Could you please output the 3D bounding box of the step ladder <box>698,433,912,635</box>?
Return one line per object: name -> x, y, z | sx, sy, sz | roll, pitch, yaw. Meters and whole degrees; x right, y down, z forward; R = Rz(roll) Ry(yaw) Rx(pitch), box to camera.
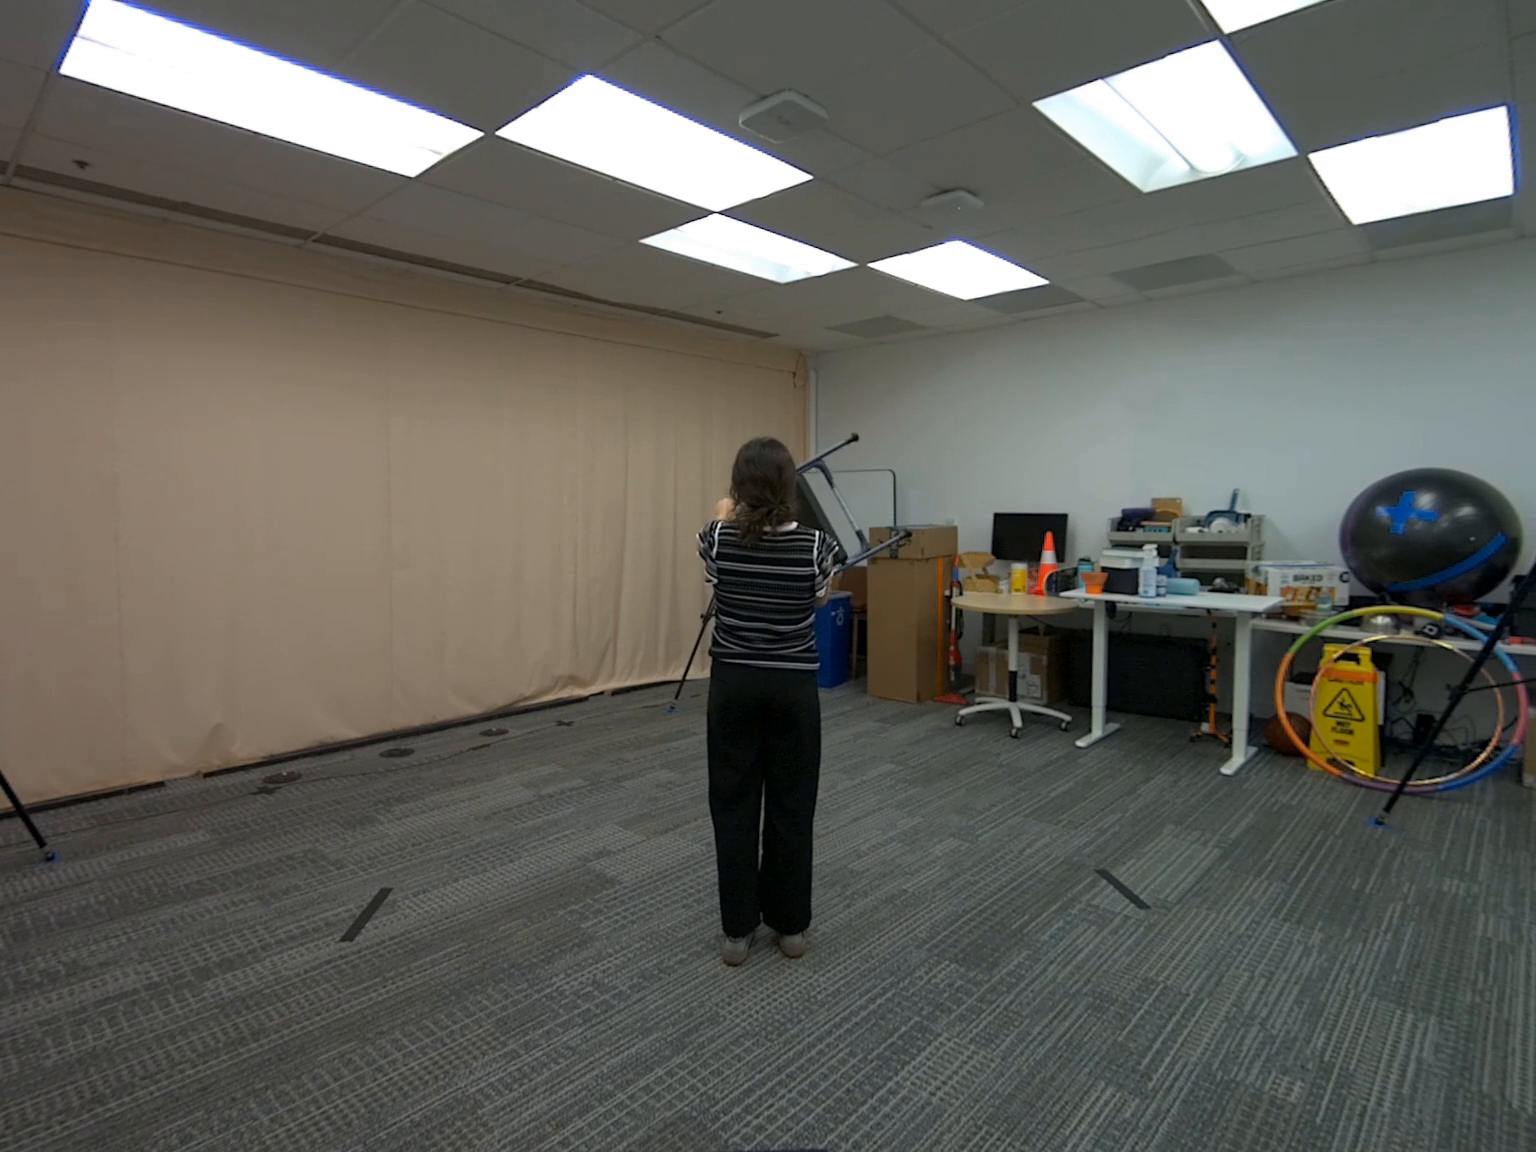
step ladder -> 0.108, -0.163, 3.095 | 0.599, 0.432, 0.352 | -27, -3, -18
